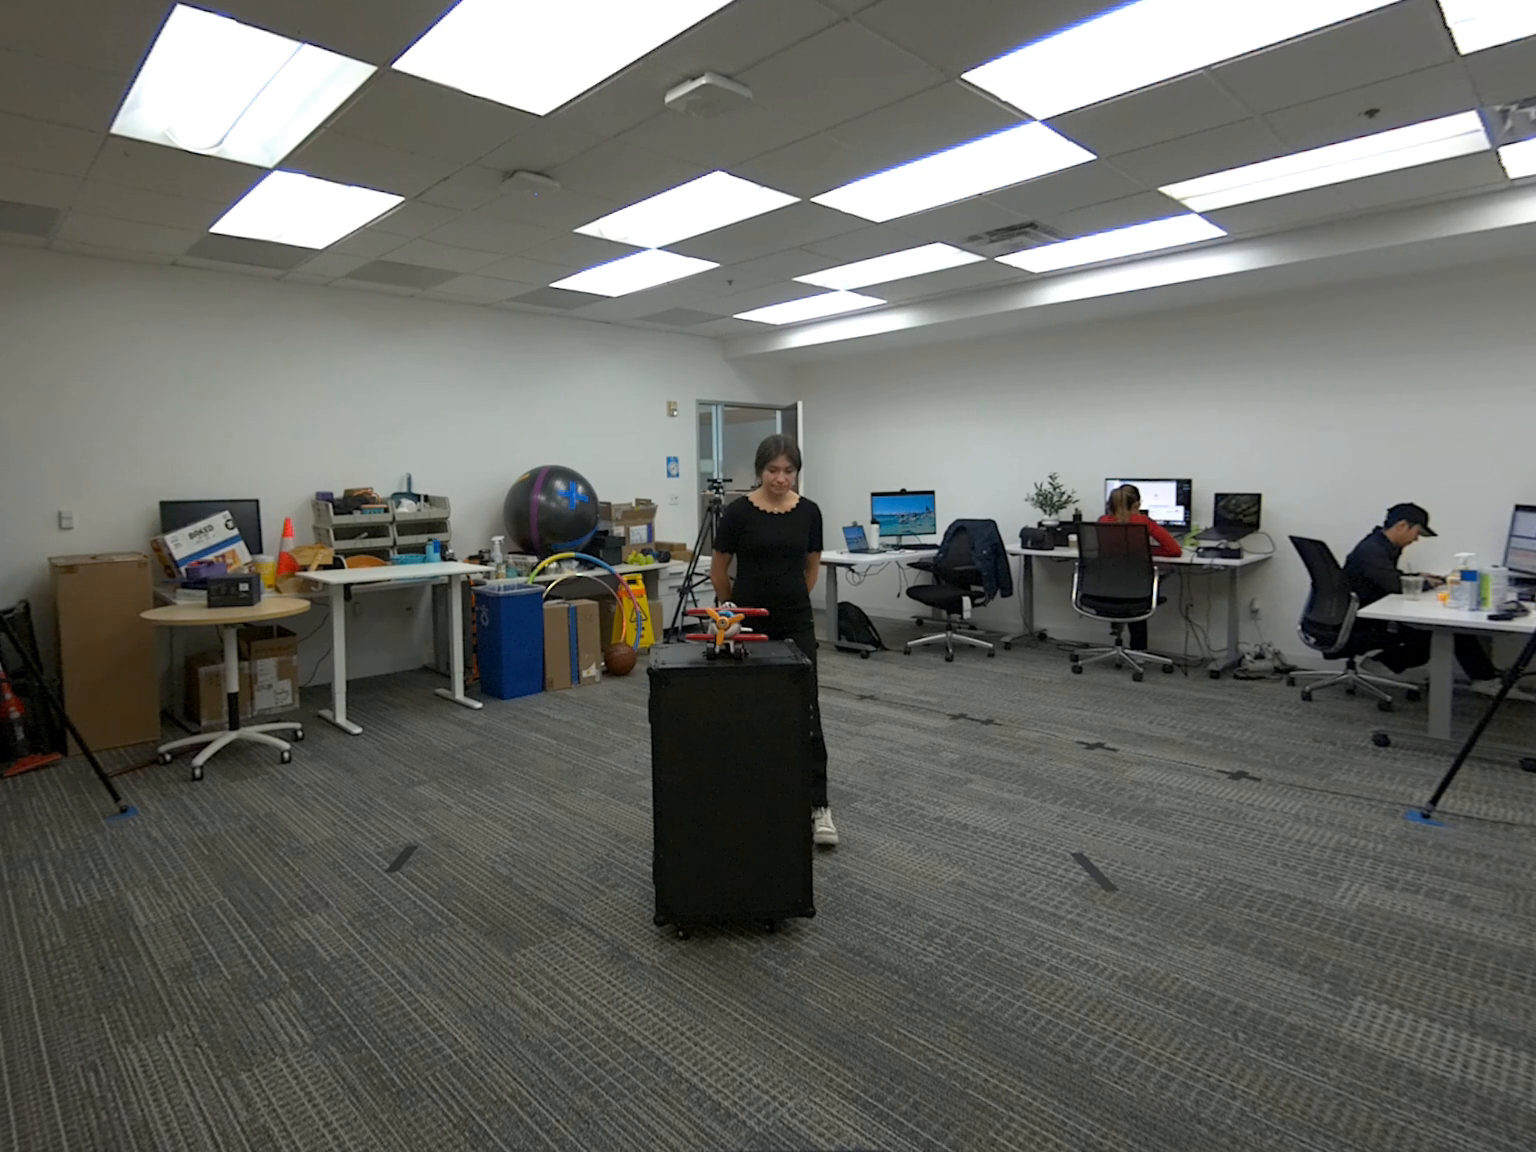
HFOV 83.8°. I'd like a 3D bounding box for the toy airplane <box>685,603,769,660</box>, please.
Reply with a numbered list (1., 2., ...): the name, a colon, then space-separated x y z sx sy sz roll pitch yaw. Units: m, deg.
1. toy airplane: -0.143 0.170 2.685 0.246 0.156 0.265 -2 6 -22
